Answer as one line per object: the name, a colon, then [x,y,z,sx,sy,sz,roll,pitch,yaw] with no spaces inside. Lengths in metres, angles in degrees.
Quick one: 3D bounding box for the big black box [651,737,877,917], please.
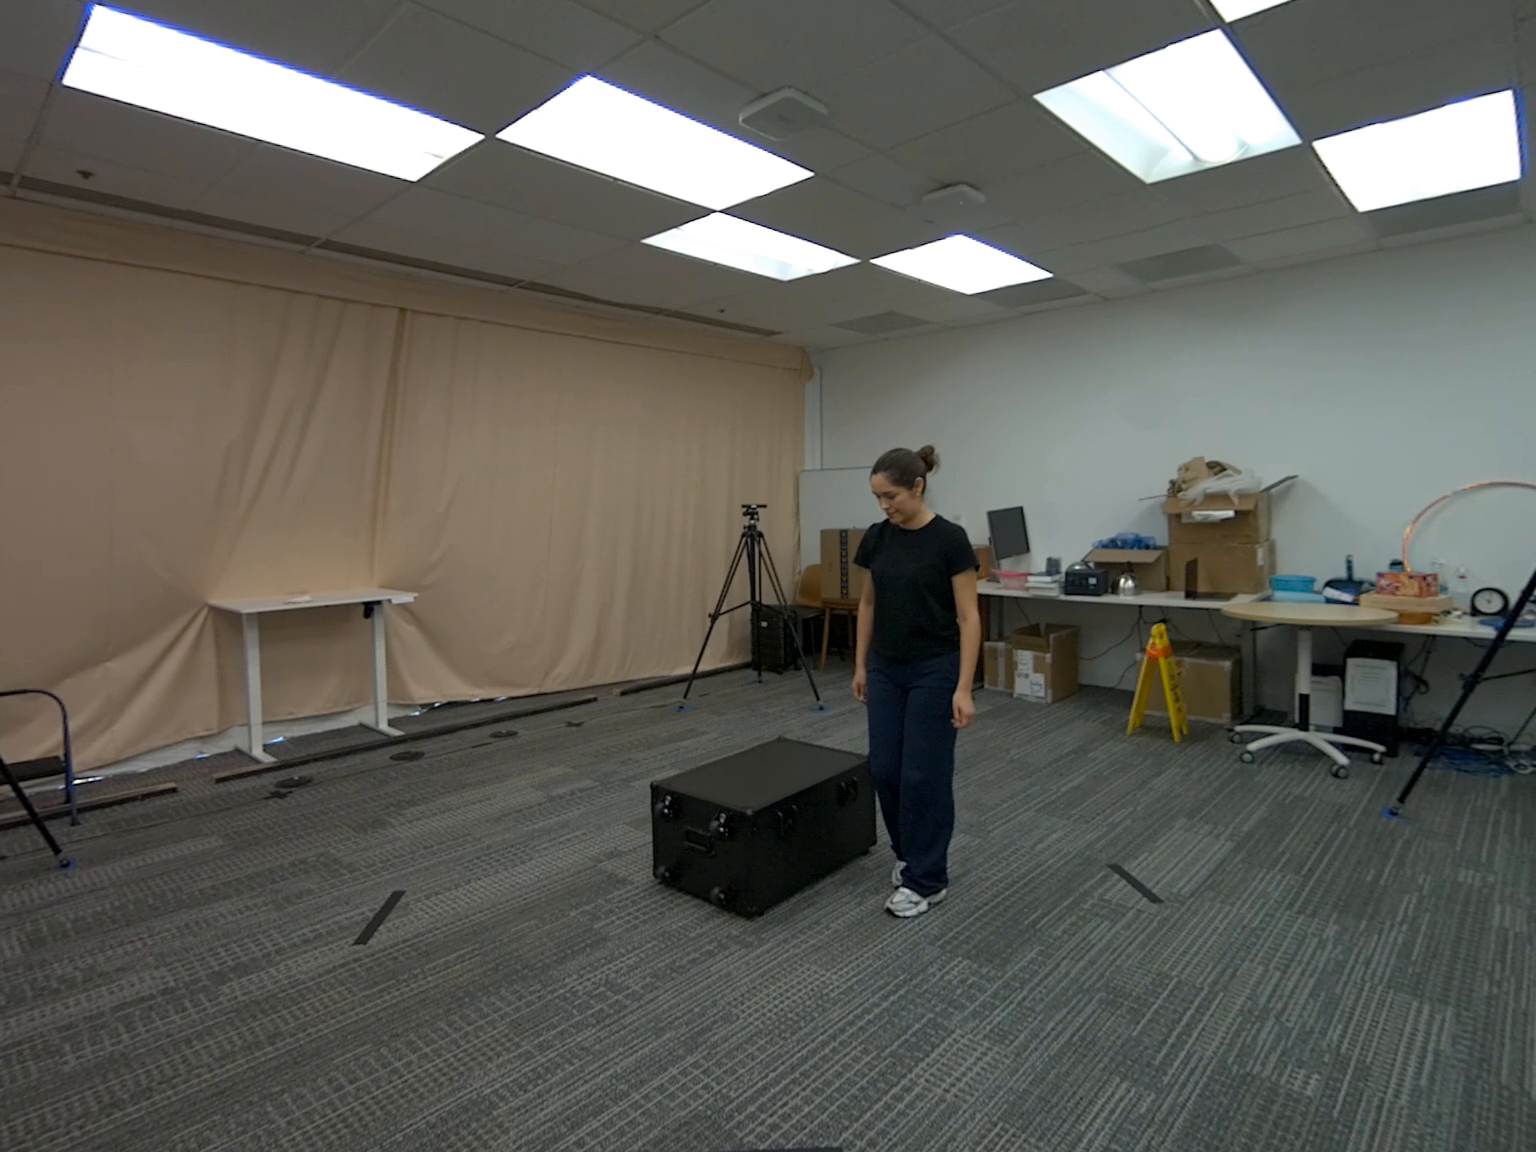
big black box: [-0.007,0.929,3.211,0.538,0.395,0.836,2,5,40]
